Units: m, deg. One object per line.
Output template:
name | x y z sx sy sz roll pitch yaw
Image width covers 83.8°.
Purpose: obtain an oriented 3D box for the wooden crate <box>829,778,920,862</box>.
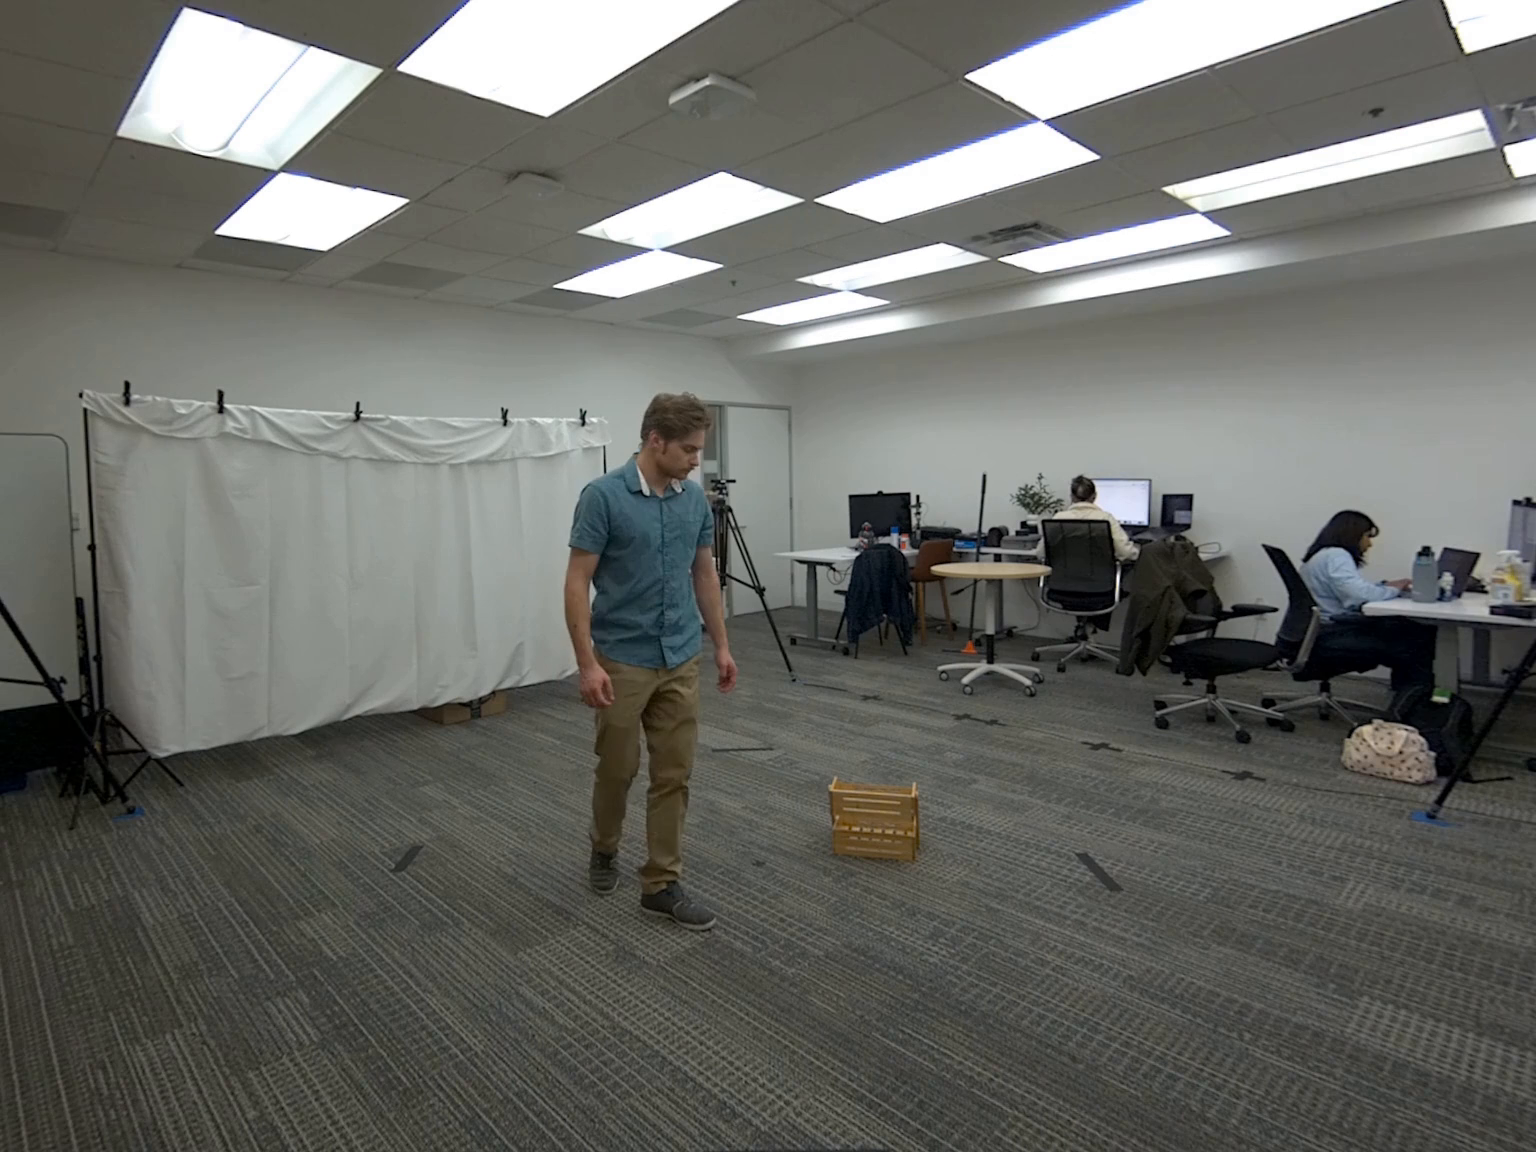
wooden crate | 0.409 0.892 3.236 0.329 0.272 0.299 0 5 13
